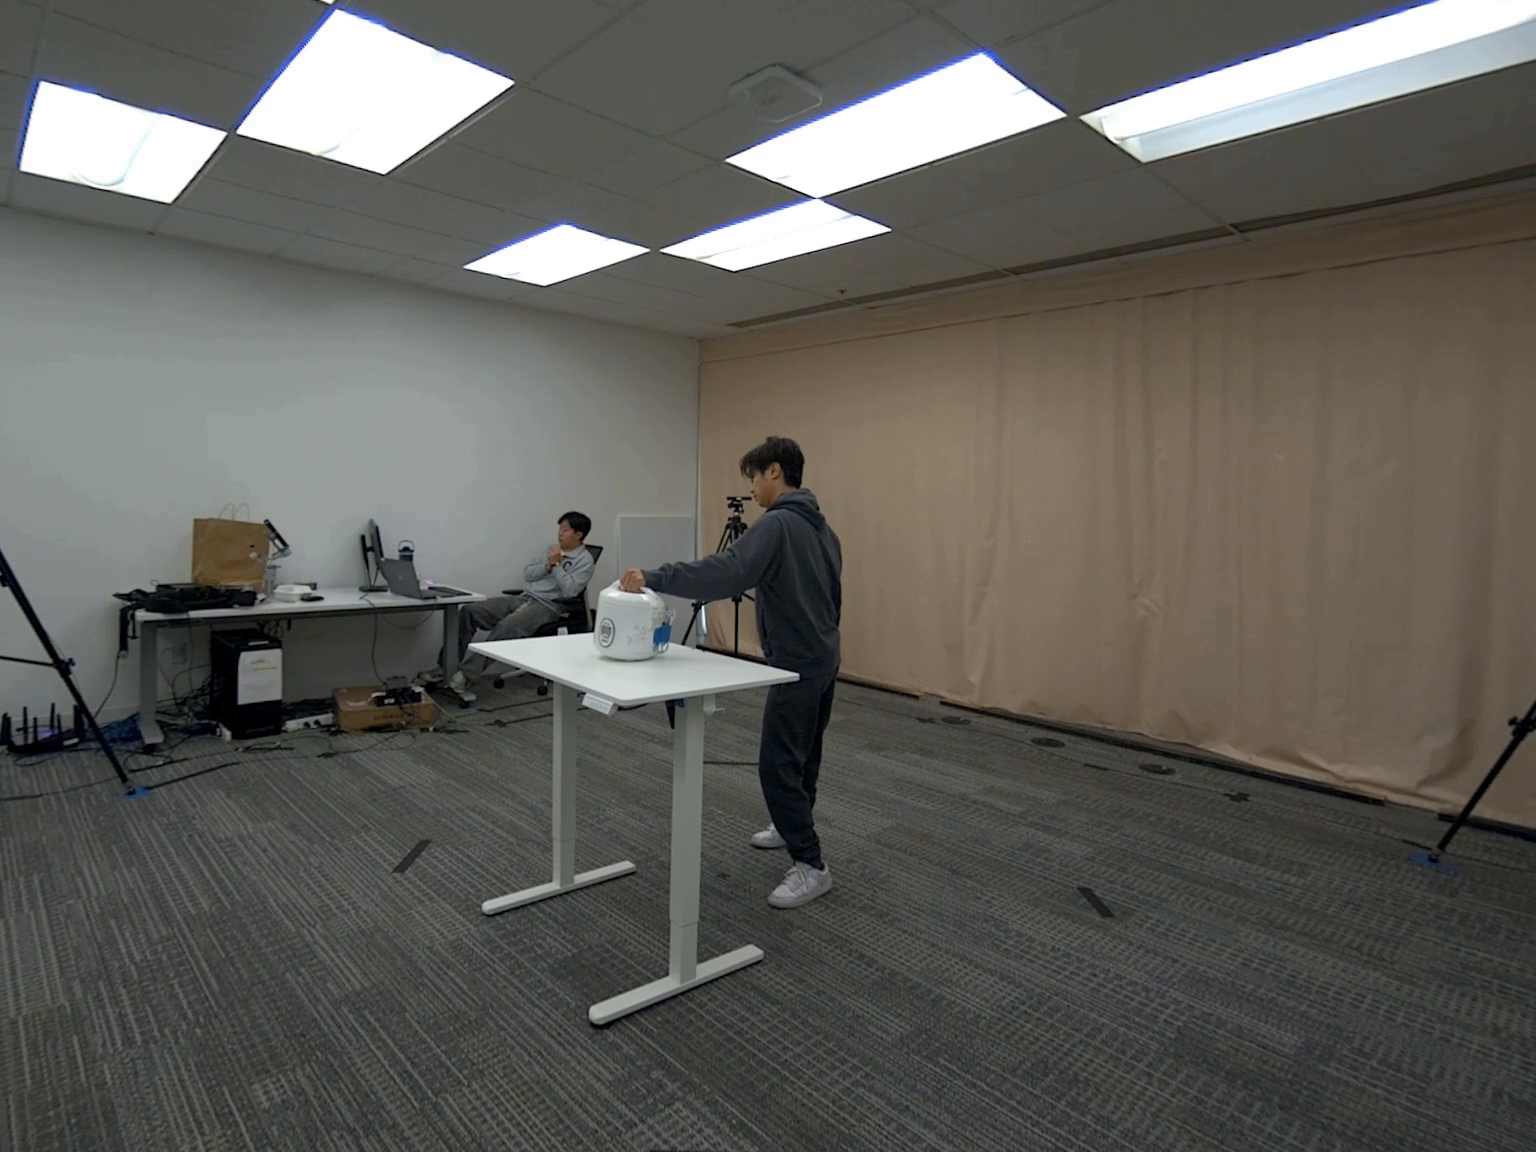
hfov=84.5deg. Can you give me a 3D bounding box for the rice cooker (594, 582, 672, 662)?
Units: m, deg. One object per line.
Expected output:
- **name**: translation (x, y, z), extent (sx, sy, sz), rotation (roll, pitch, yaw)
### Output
- **rice cooker**: translation (-0.449, 0.138, 2.635), extent (0.226, 0.232, 0.213), rotation (10, 5, 30)
